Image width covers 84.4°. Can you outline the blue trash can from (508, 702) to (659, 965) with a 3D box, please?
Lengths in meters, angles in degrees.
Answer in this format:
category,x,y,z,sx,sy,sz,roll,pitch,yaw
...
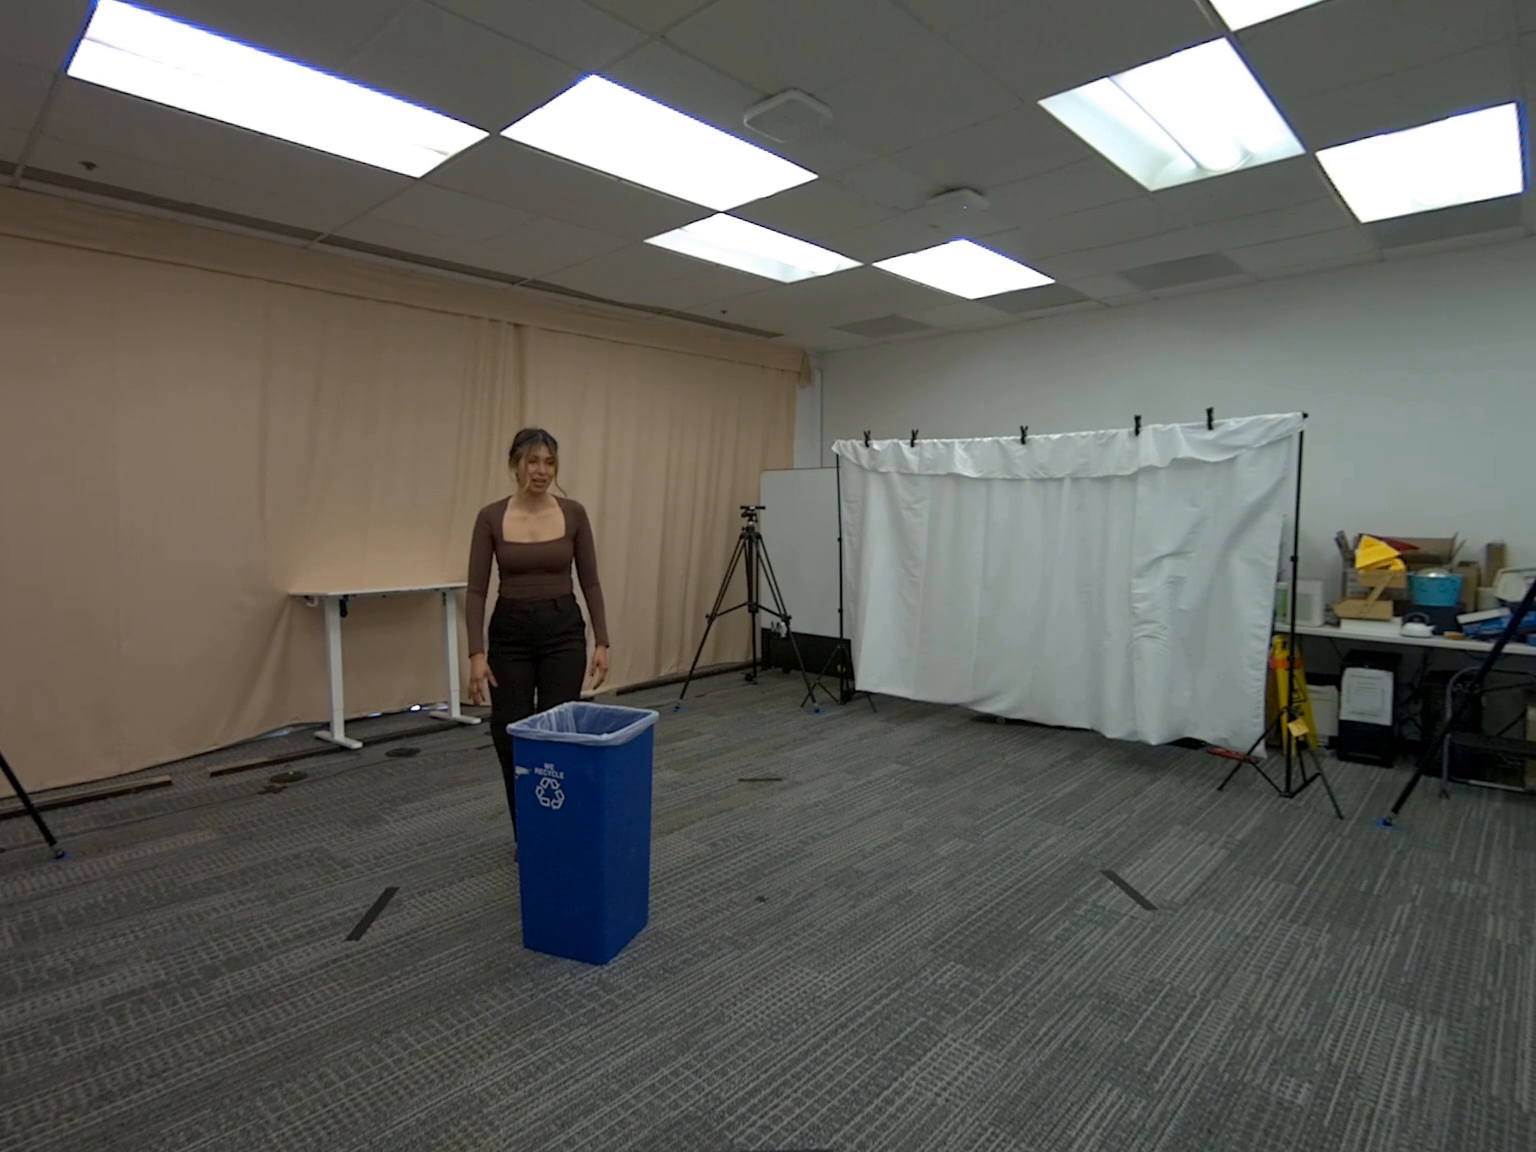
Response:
category,x,y,z,sx,sy,sz,roll,pitch,yaw
blue trash can,-0.580,0.813,2.720,0.383,0.712,0.370,1,4,22
